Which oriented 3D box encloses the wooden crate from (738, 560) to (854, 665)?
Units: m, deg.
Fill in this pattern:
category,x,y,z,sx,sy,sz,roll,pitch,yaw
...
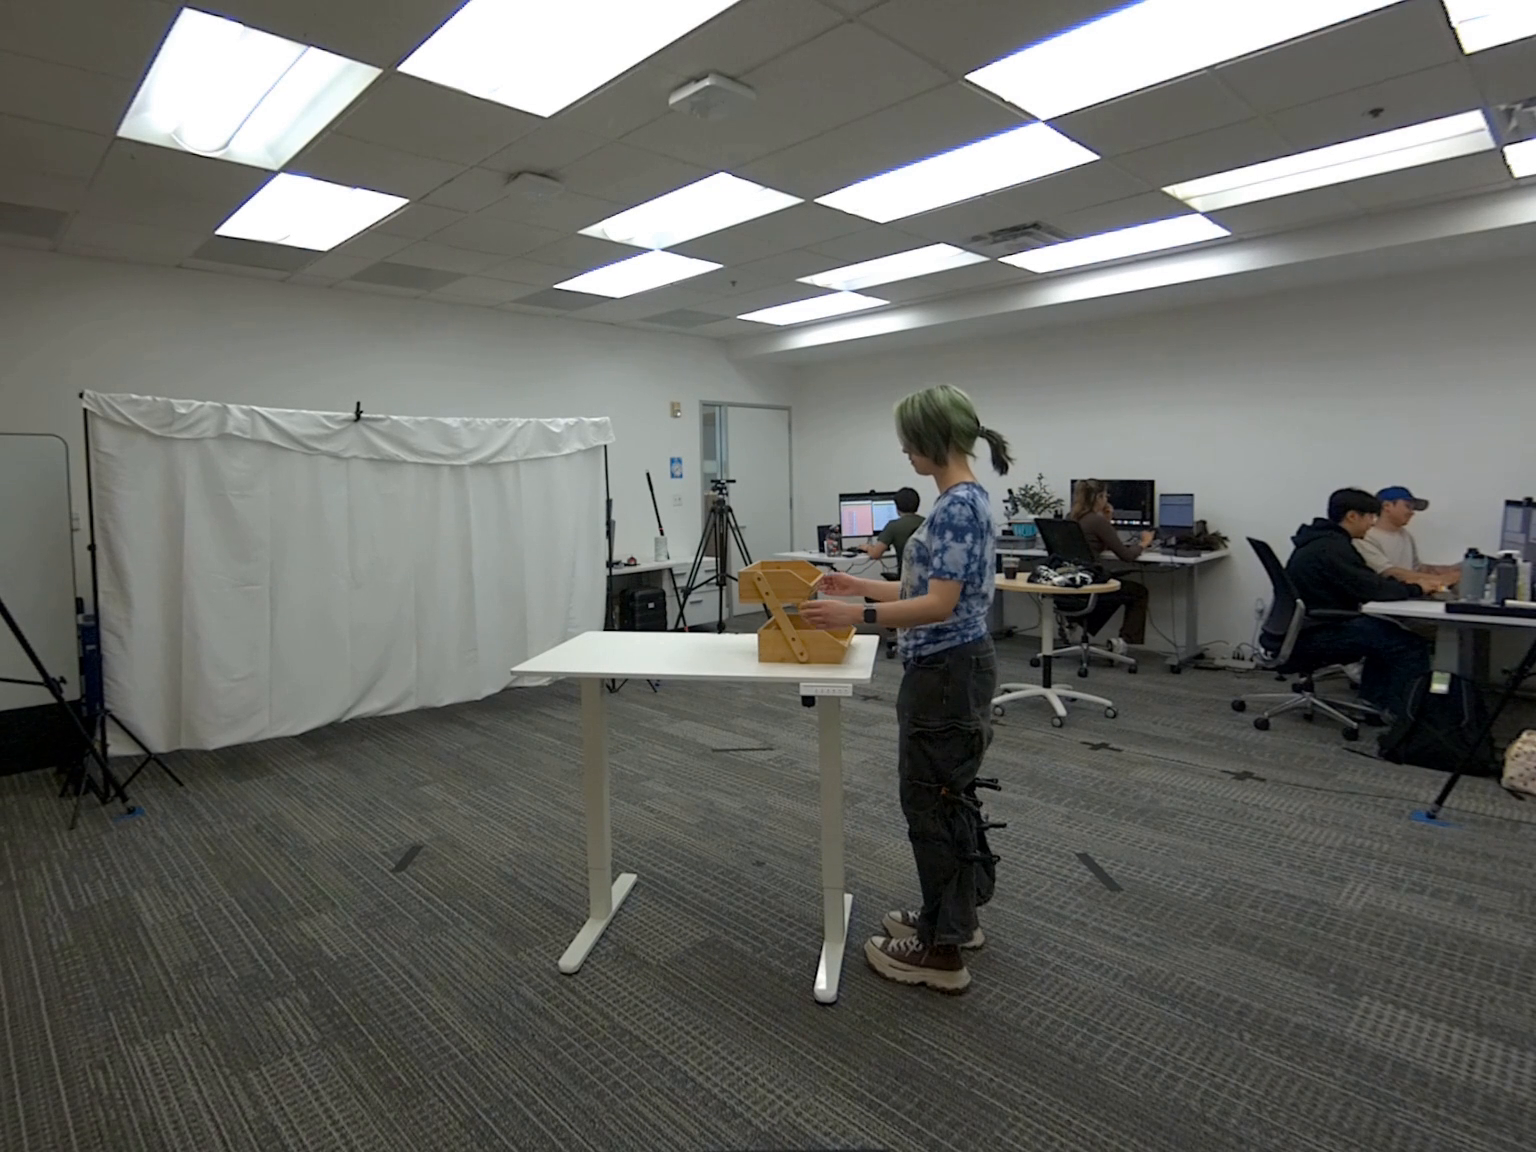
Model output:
category,x,y,z,sx,sy,sz,roll,pitch,yaw
wooden crate,0.103,0.092,2.514,0.306,0.272,0.322,-2,5,12
